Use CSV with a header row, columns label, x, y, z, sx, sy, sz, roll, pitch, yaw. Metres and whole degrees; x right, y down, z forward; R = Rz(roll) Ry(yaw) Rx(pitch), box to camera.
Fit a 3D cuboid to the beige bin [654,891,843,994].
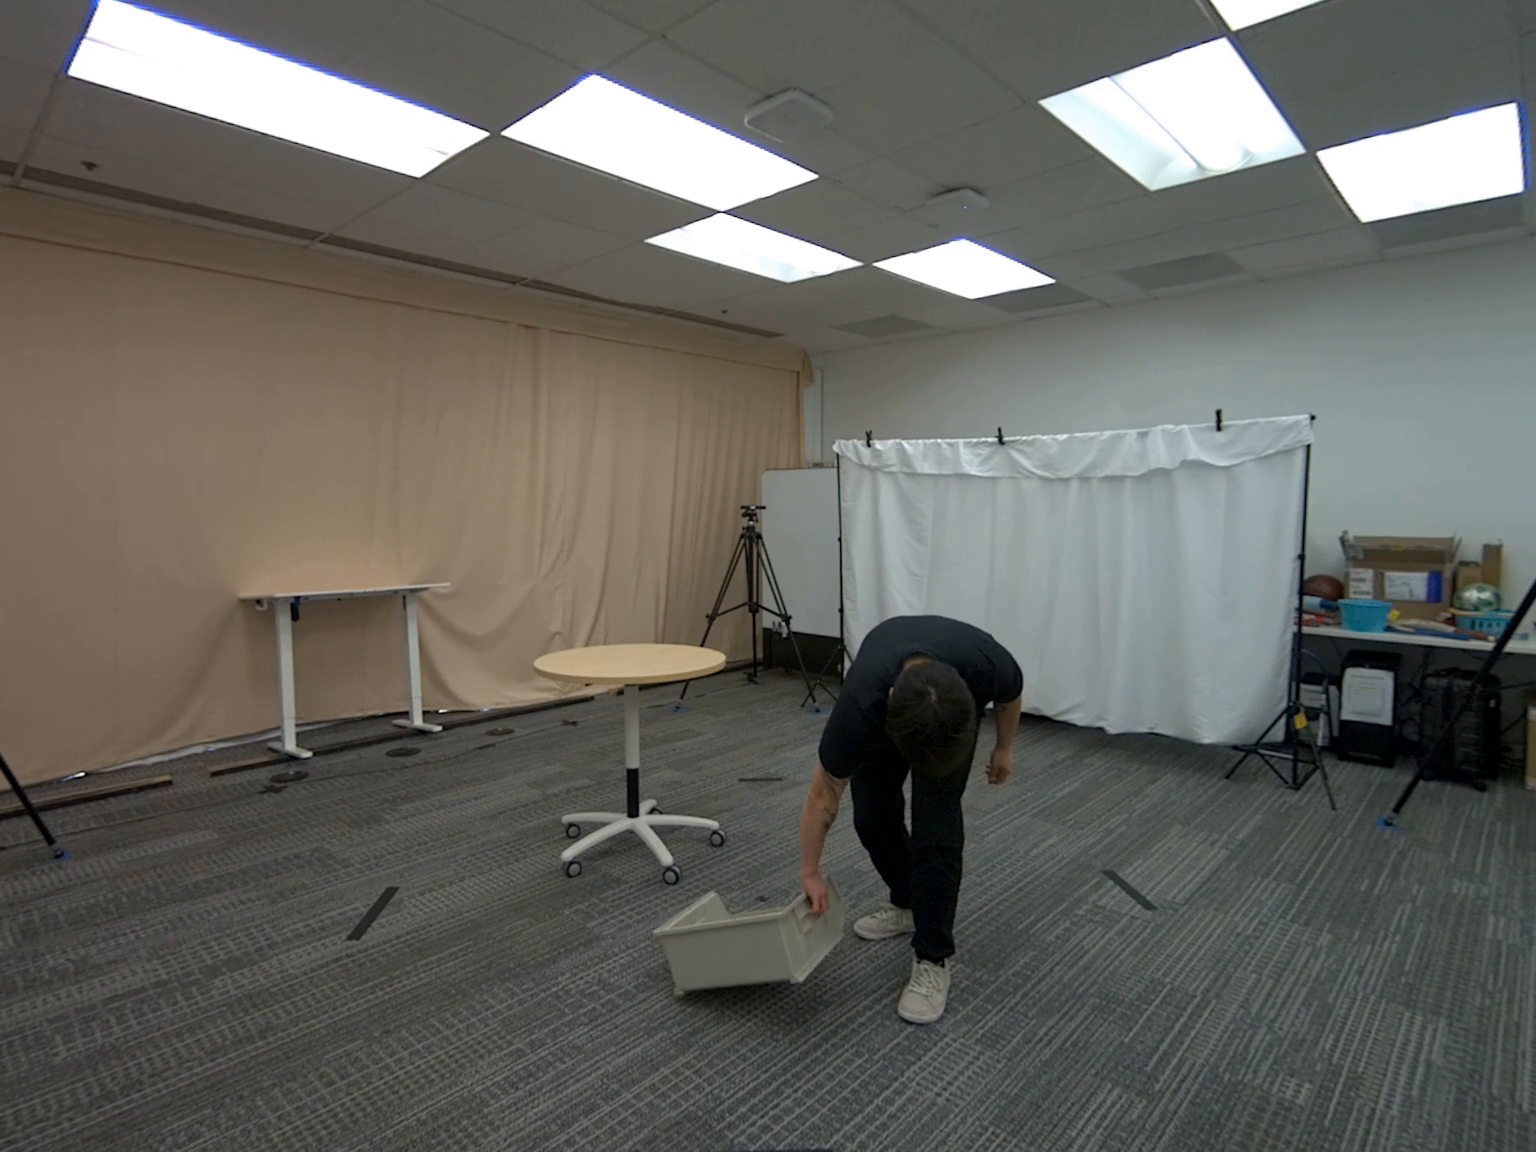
label,x,y,z,sx,sy,sz,roll,pitch,yaw
beige bin,-0.039,1.025,2.414,0.430,0.190,0.368,-18,-6,24
